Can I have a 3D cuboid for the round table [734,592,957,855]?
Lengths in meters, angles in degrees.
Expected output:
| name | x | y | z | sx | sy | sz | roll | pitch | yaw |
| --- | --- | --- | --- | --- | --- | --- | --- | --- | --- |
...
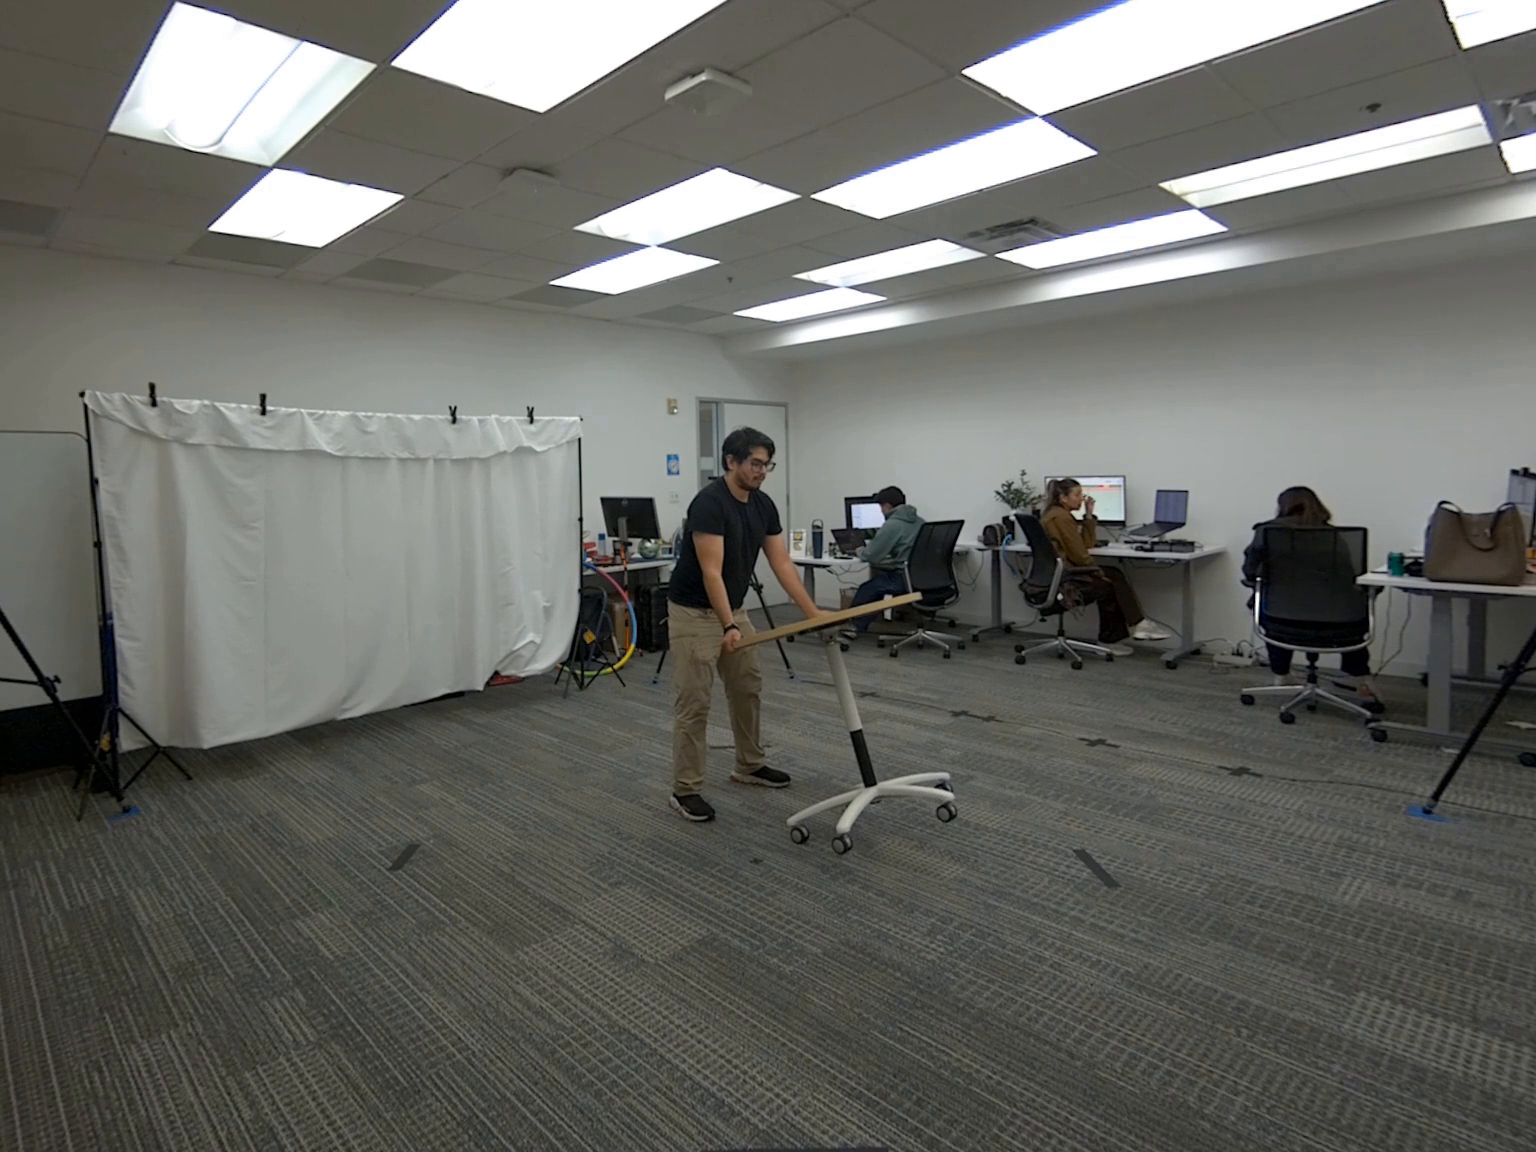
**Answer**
| name | x | y | z | sx | sy | sz | roll | pitch | yaw |
| --- | --- | --- | --- | --- | --- | --- | --- | --- | --- |
| round table | 0.315 | 0.552 | 3.276 | 0.783 | 0.793 | 0.780 | -14 | -6 | -3 |
